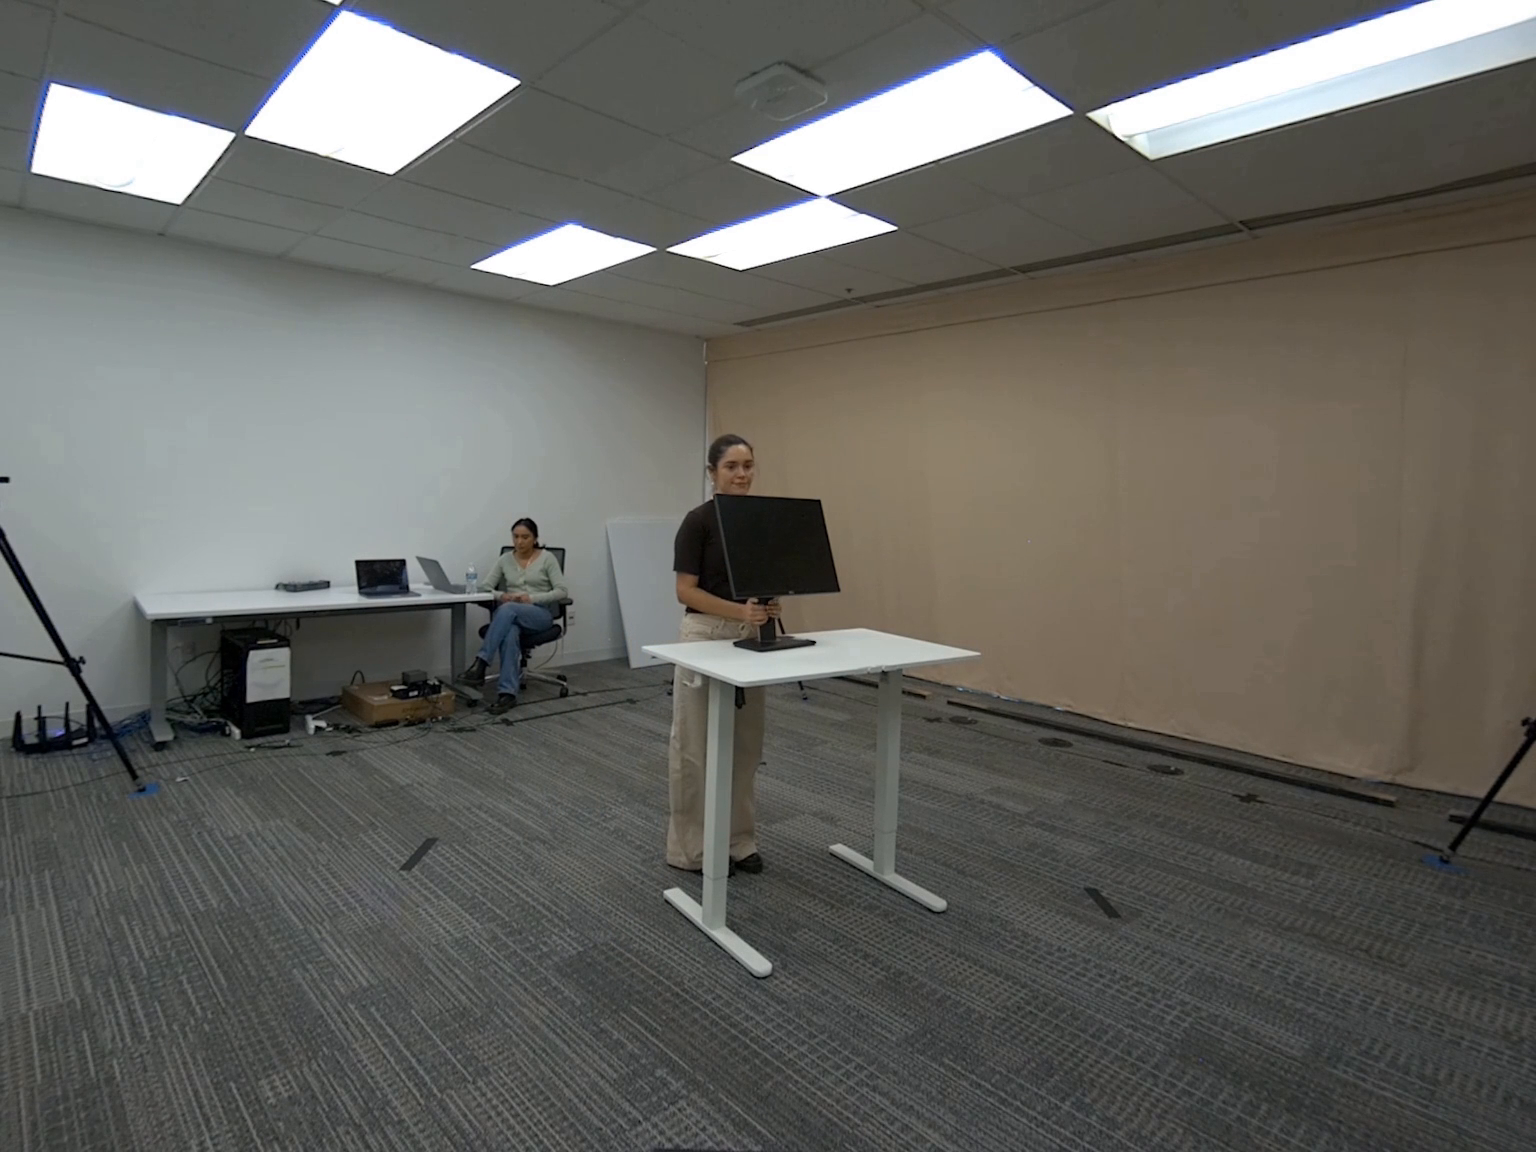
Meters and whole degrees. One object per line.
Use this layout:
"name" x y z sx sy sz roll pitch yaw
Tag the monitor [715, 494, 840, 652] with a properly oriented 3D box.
"monitor" 0.017 -0.011 2.912 0.191 0.523 0.526 0 0 41
